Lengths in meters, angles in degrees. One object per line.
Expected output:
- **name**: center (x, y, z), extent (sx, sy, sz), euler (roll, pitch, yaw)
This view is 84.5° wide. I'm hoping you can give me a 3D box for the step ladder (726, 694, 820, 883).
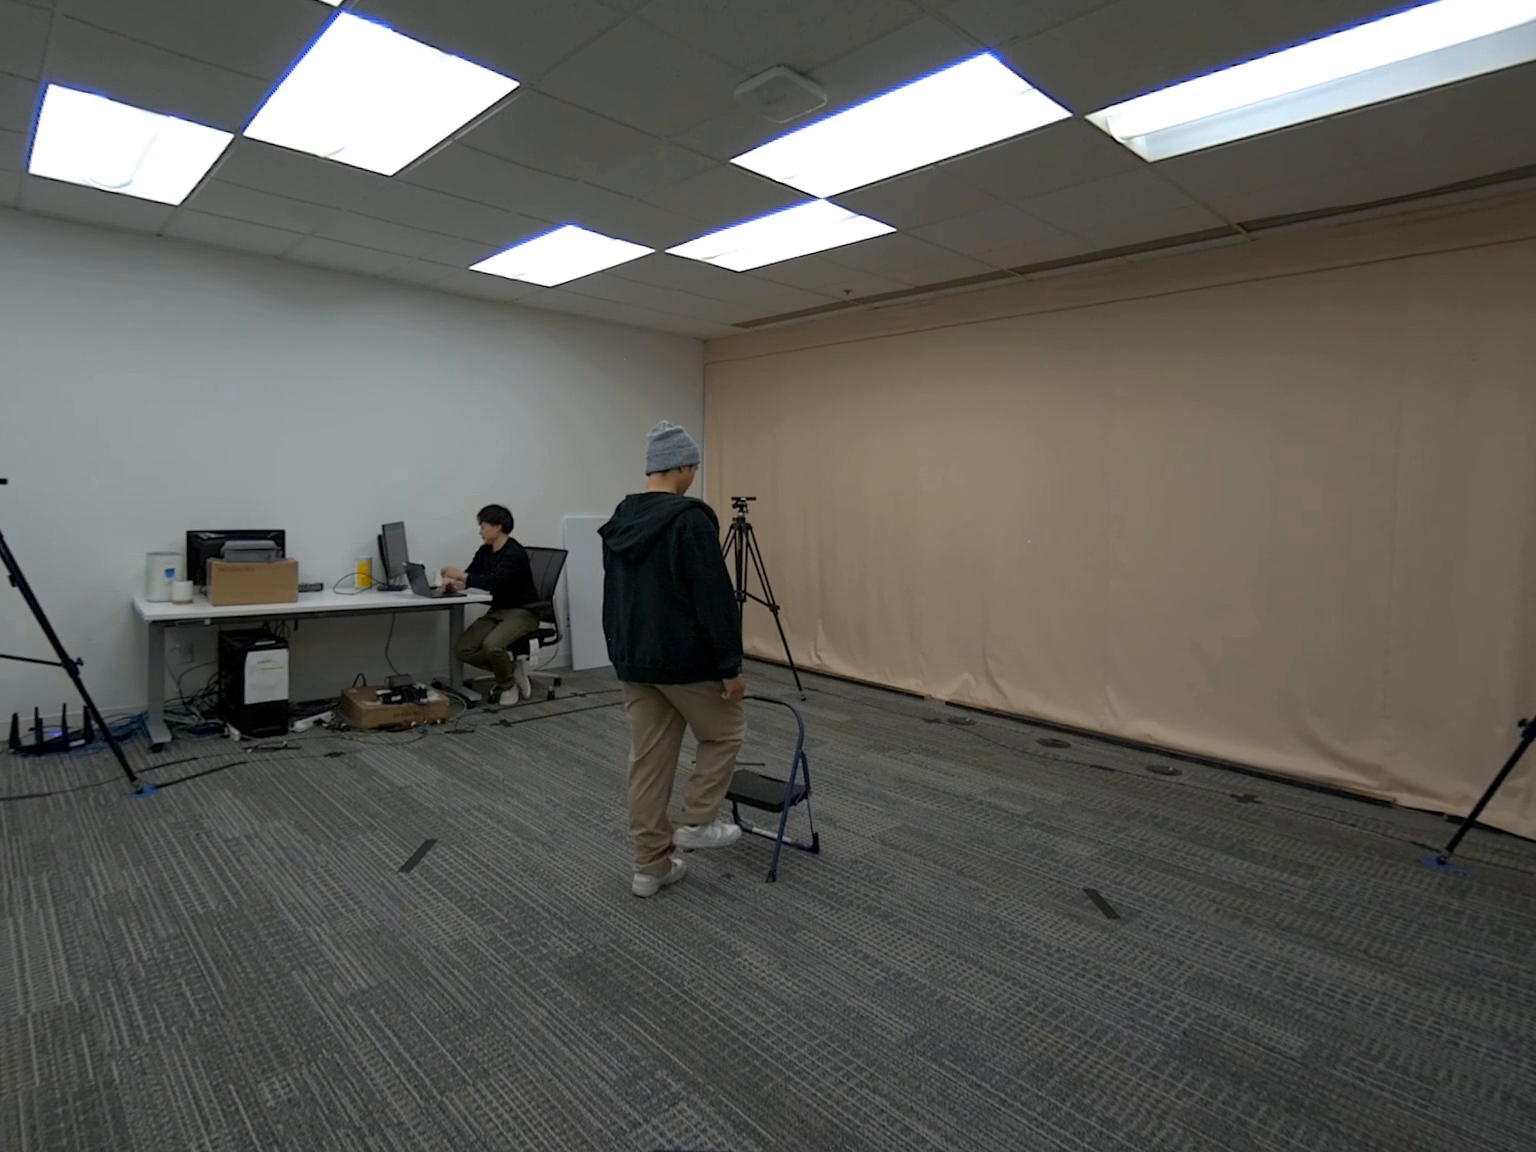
- **step ladder**: center (-0.056, 0.789, 3.307), extent (0.441, 0.604, 0.342), euler (4, 4, 37)
